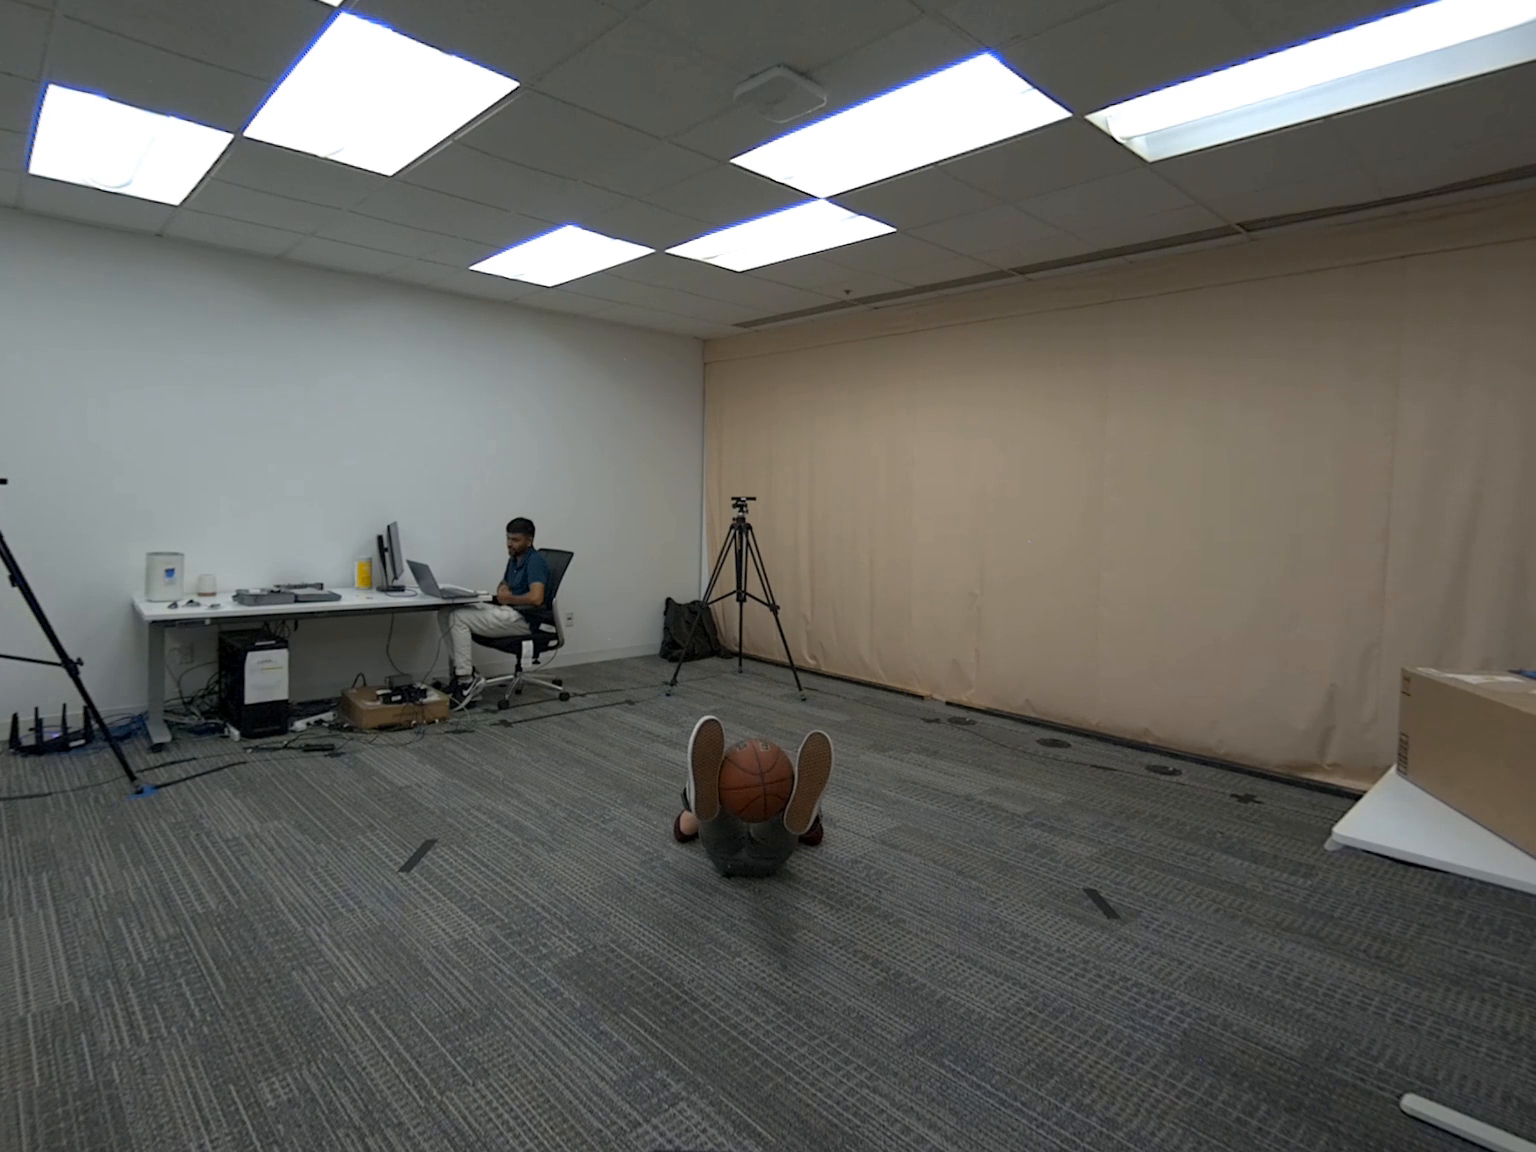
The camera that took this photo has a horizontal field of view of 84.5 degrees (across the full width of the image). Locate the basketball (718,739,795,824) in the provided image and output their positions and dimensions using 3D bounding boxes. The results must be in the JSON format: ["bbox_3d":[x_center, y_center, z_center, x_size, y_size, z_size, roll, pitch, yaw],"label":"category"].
[{"bbox_3d":[-0.049,0.595,2.463,0.236,0.234,0.237,0,7,-1],"label":"basketball"}]
